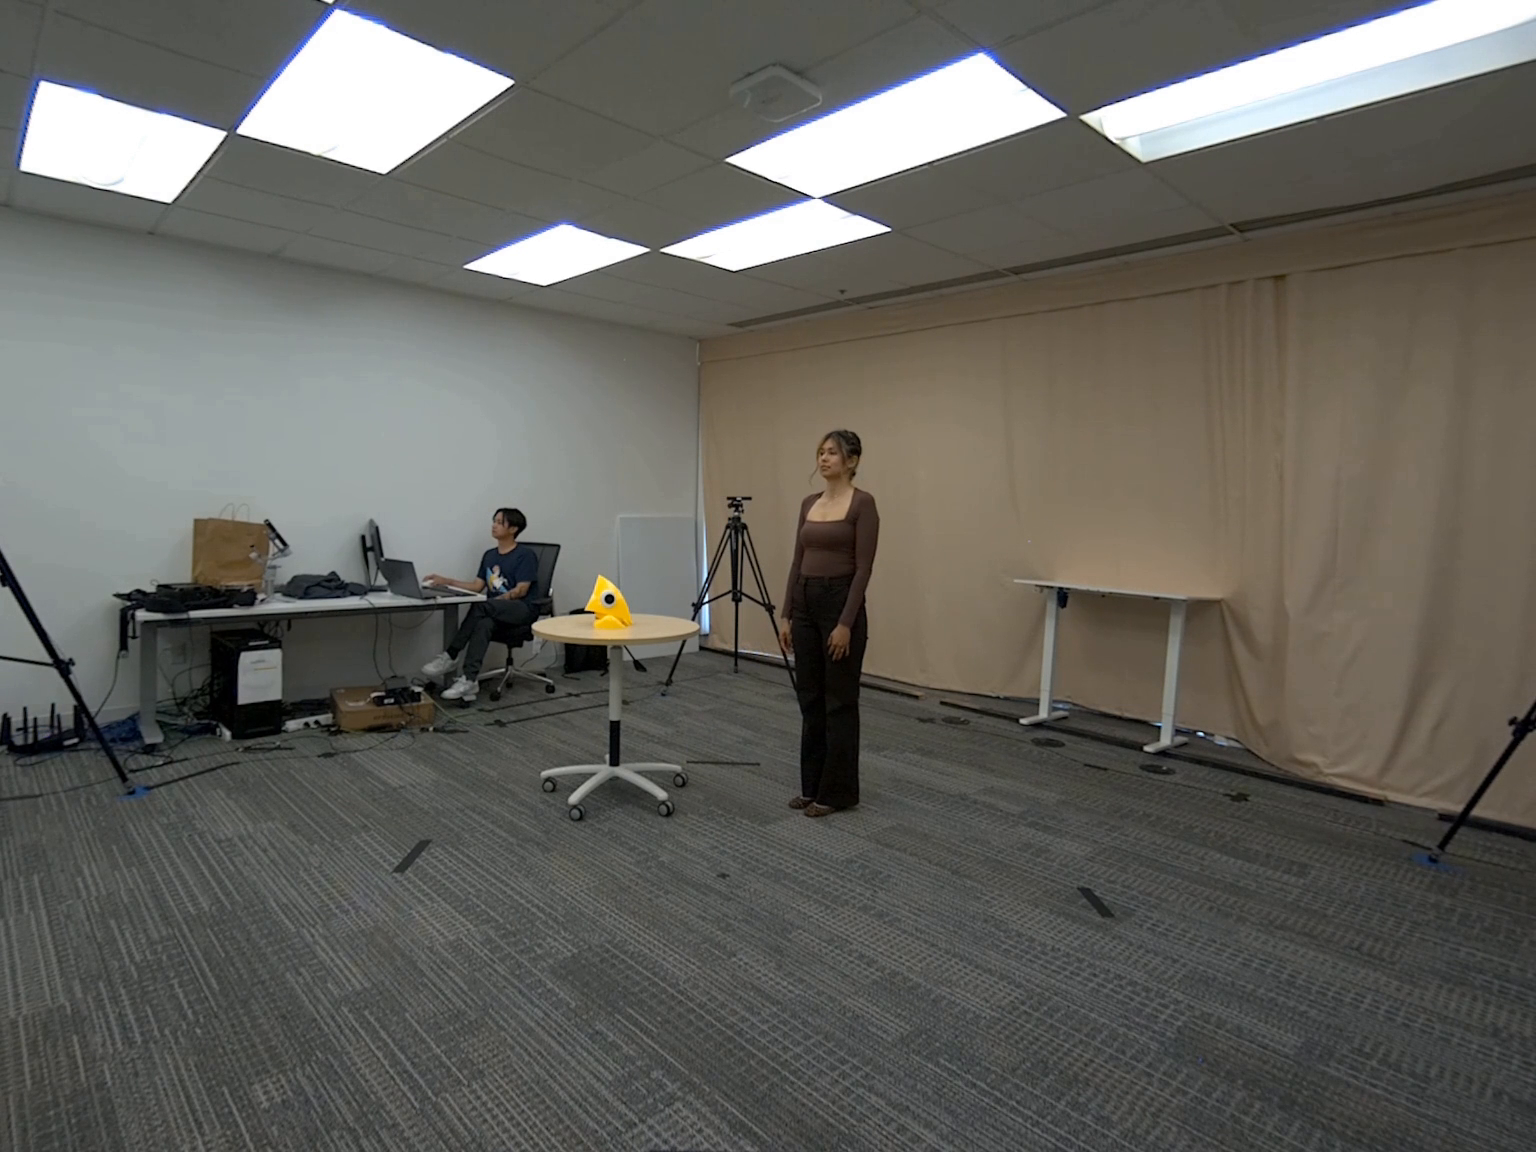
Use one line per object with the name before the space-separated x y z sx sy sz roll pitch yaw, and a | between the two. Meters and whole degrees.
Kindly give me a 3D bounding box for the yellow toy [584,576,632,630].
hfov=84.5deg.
yellow toy | -0.734 0.113 3.876 0.194 0.230 0.204 2 4 7
